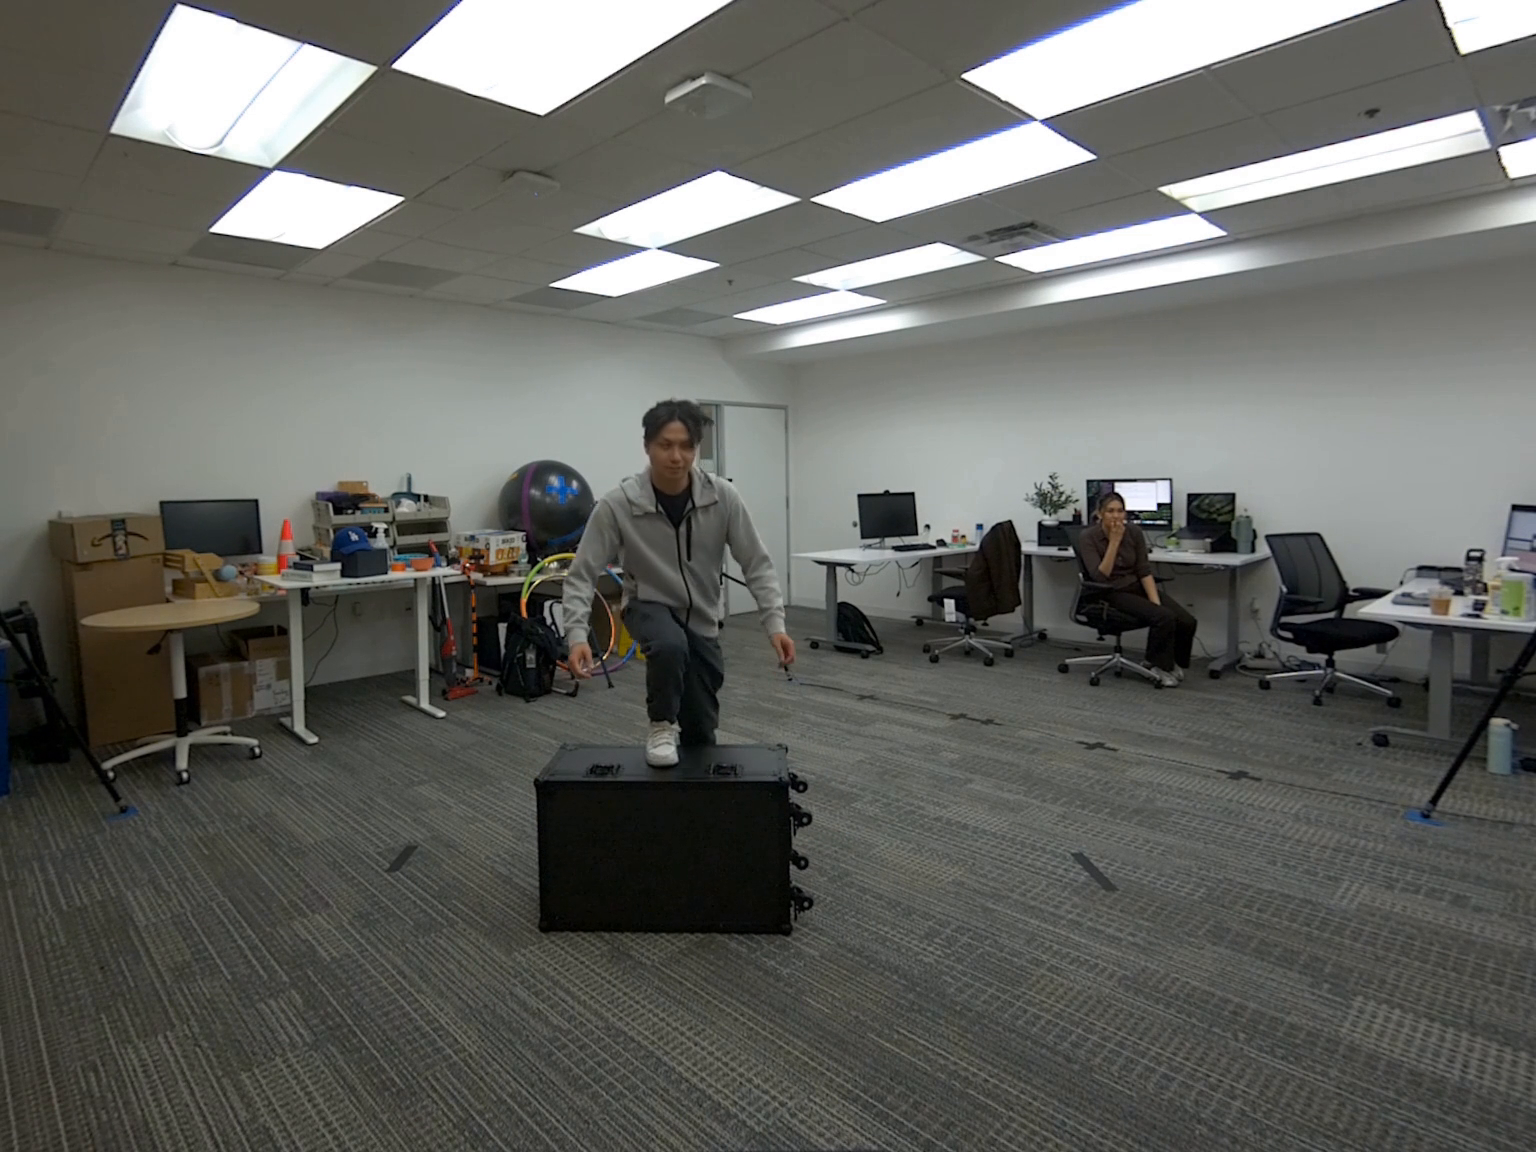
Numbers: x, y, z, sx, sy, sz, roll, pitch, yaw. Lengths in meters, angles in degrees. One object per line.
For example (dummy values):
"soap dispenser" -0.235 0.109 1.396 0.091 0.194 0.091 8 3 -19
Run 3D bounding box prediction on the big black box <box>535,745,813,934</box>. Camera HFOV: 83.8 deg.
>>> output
"big black box" -0.290 0.842 2.806 0.864 0.519 0.396 -1 4 3
